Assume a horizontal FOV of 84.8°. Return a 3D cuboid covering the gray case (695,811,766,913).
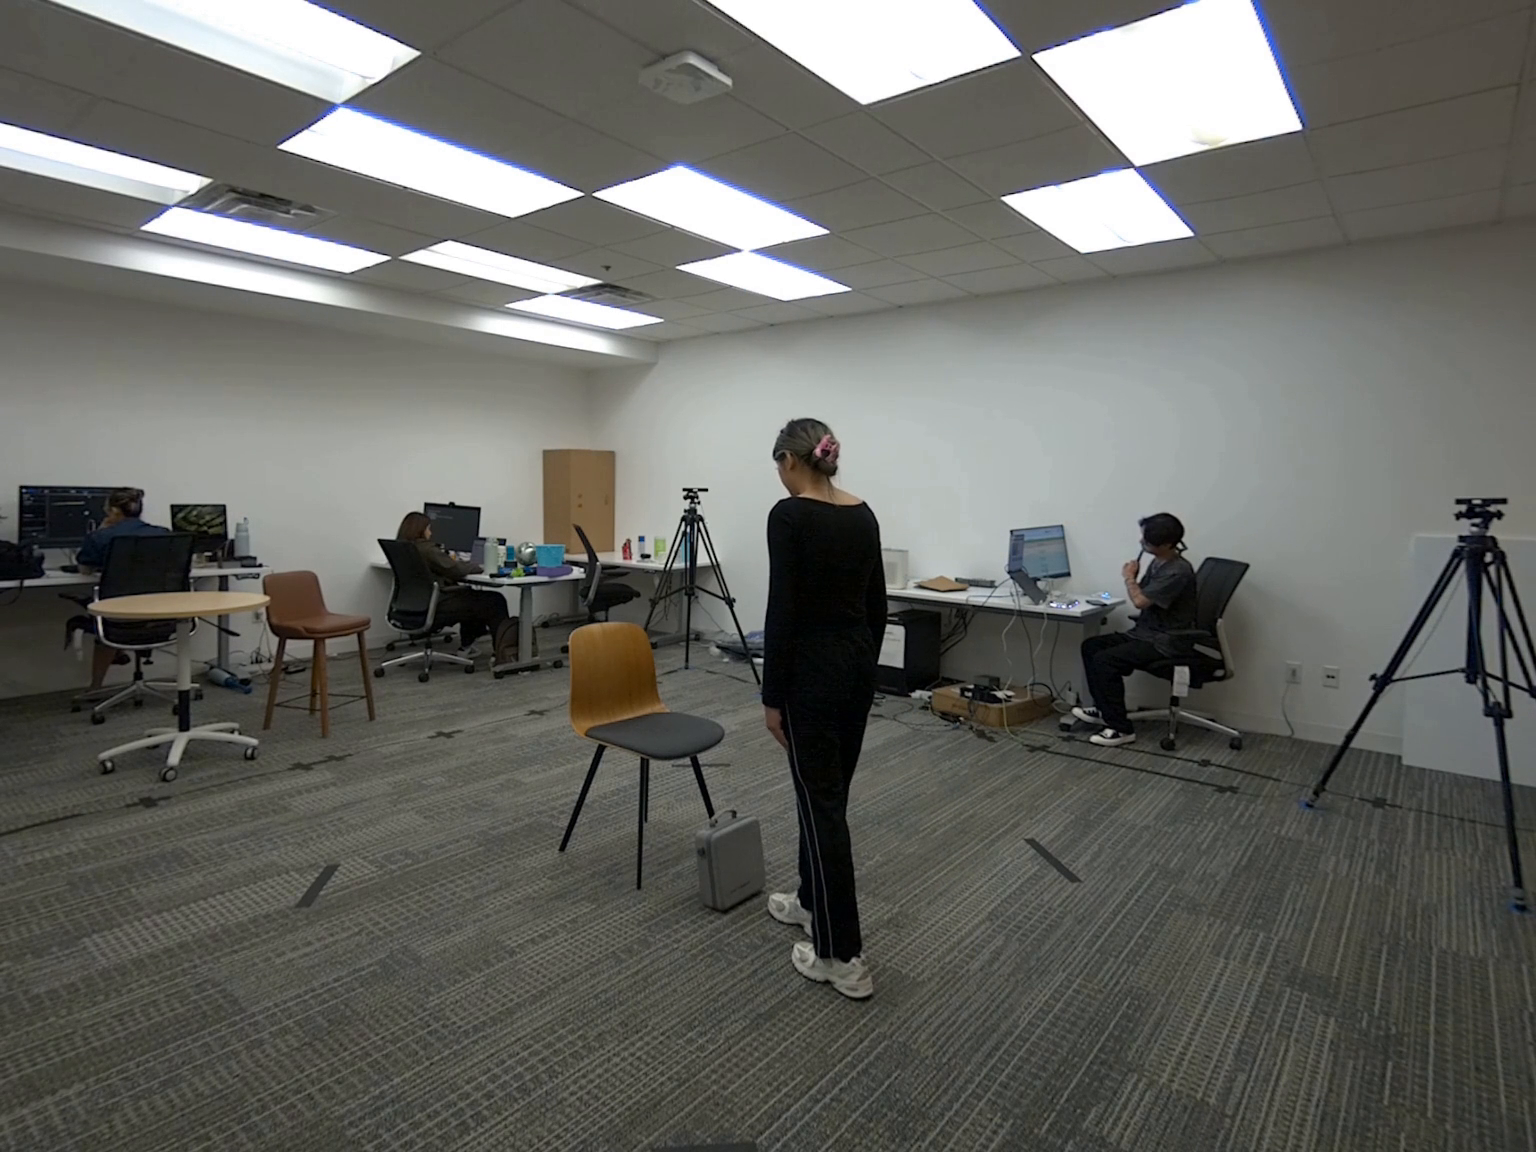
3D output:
[{"bbox_3d":[-0.136,0.961,2.894,0.107,0.262,0.249,-9,-4,40],"label":"gray case"}]
